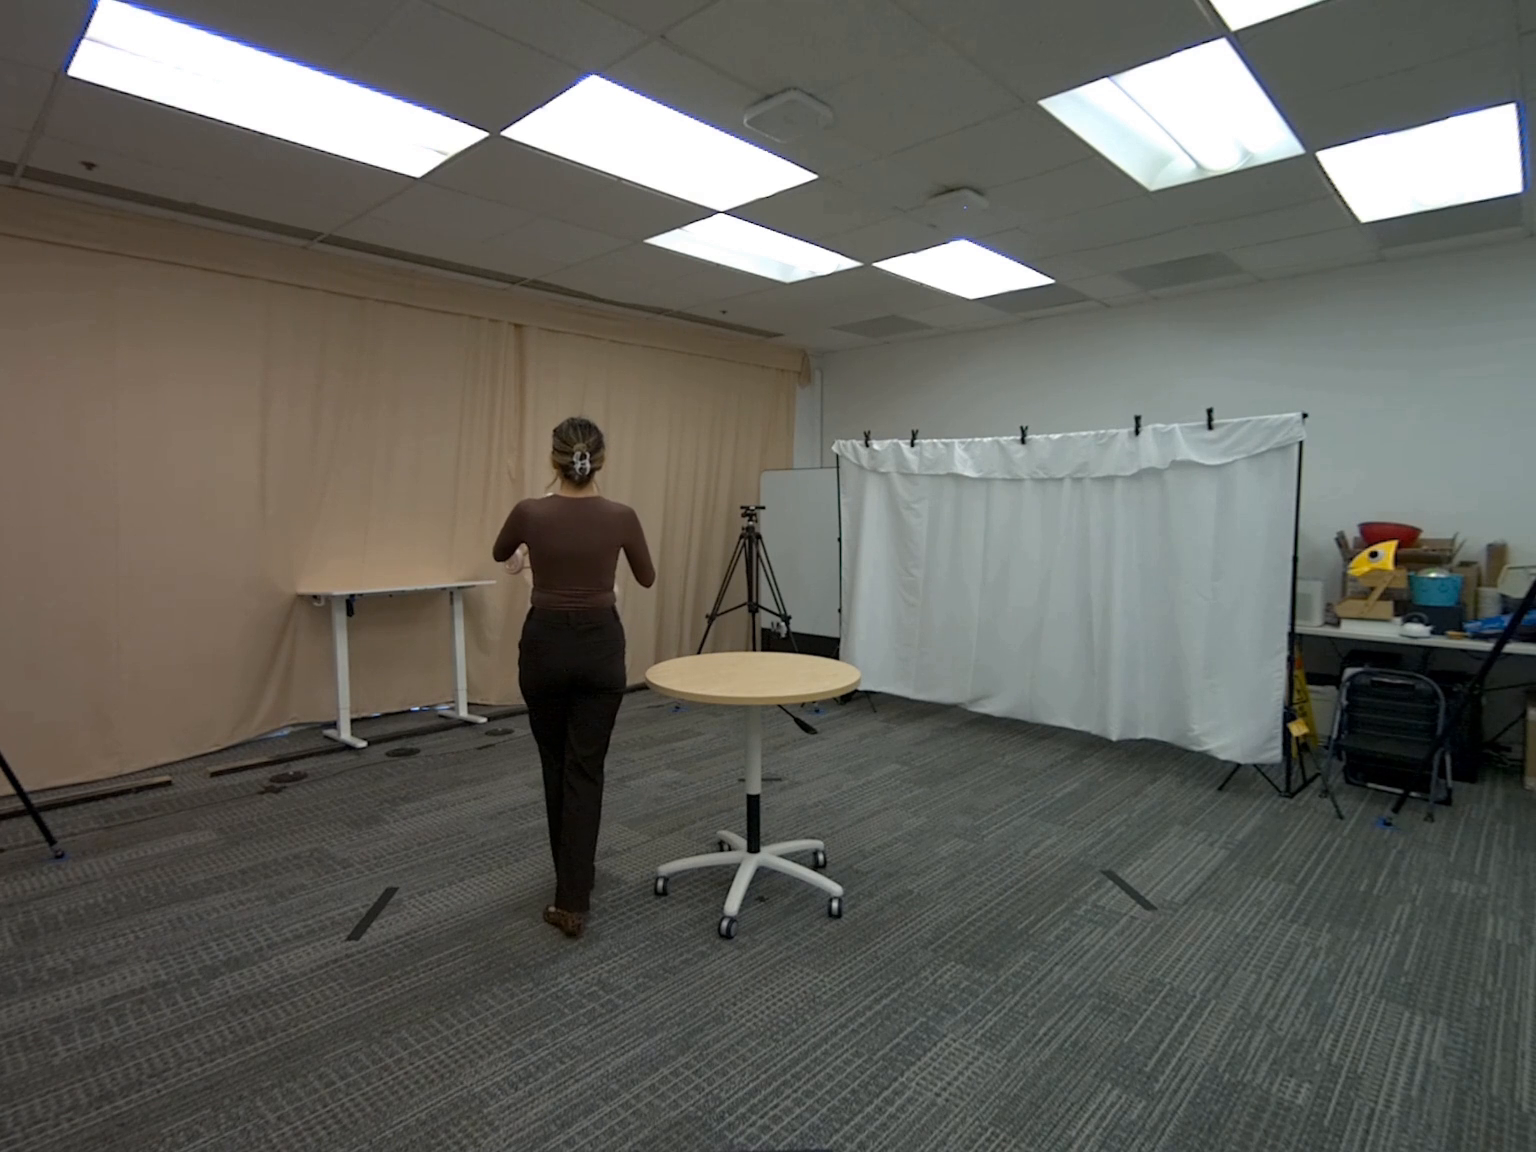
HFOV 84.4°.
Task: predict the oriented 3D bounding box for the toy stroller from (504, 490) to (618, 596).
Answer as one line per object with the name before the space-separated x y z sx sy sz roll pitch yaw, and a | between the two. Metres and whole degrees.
toy stroller | -0.805 -0.050 3.391 0.548 0.342 0.274 43 15 20
